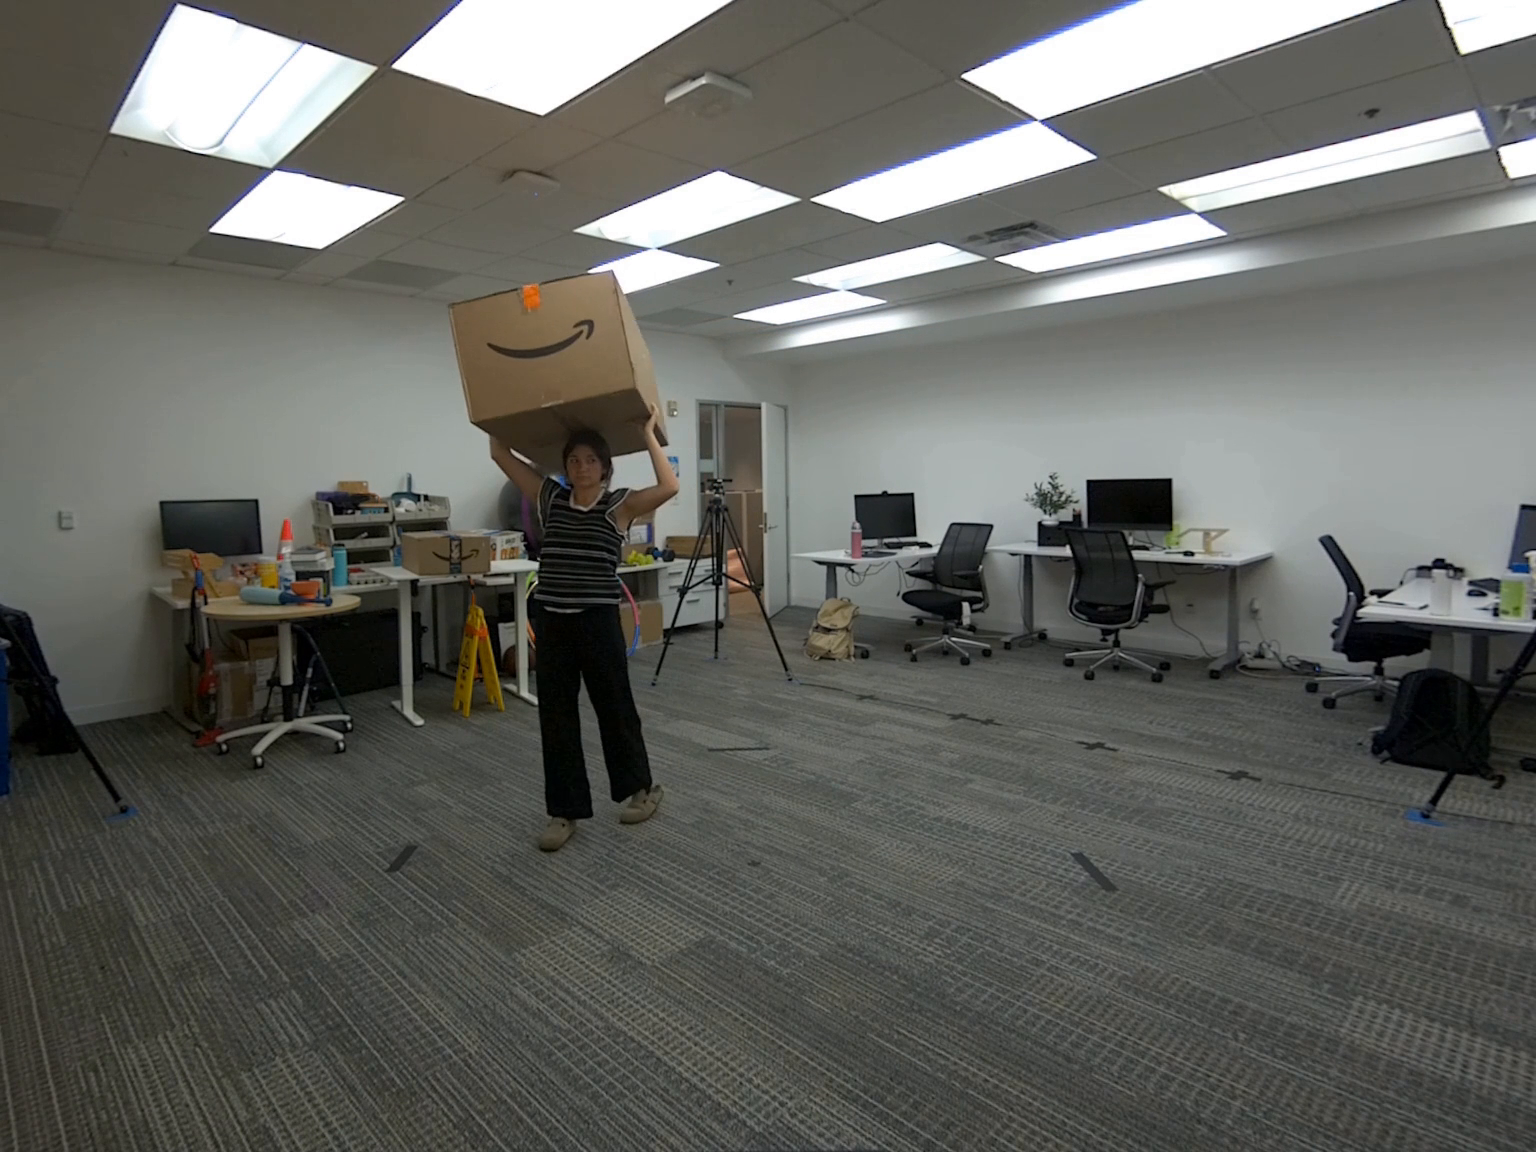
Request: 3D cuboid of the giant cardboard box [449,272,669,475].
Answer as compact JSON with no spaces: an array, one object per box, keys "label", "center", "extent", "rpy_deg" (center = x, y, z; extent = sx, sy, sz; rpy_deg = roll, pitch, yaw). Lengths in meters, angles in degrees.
[{"label":"giant cardboard box","center":[-0.766,-0.760,3.365],"extent":[0.578,0.428,1.021],"rpy_deg":[-12,-2,0]}]
